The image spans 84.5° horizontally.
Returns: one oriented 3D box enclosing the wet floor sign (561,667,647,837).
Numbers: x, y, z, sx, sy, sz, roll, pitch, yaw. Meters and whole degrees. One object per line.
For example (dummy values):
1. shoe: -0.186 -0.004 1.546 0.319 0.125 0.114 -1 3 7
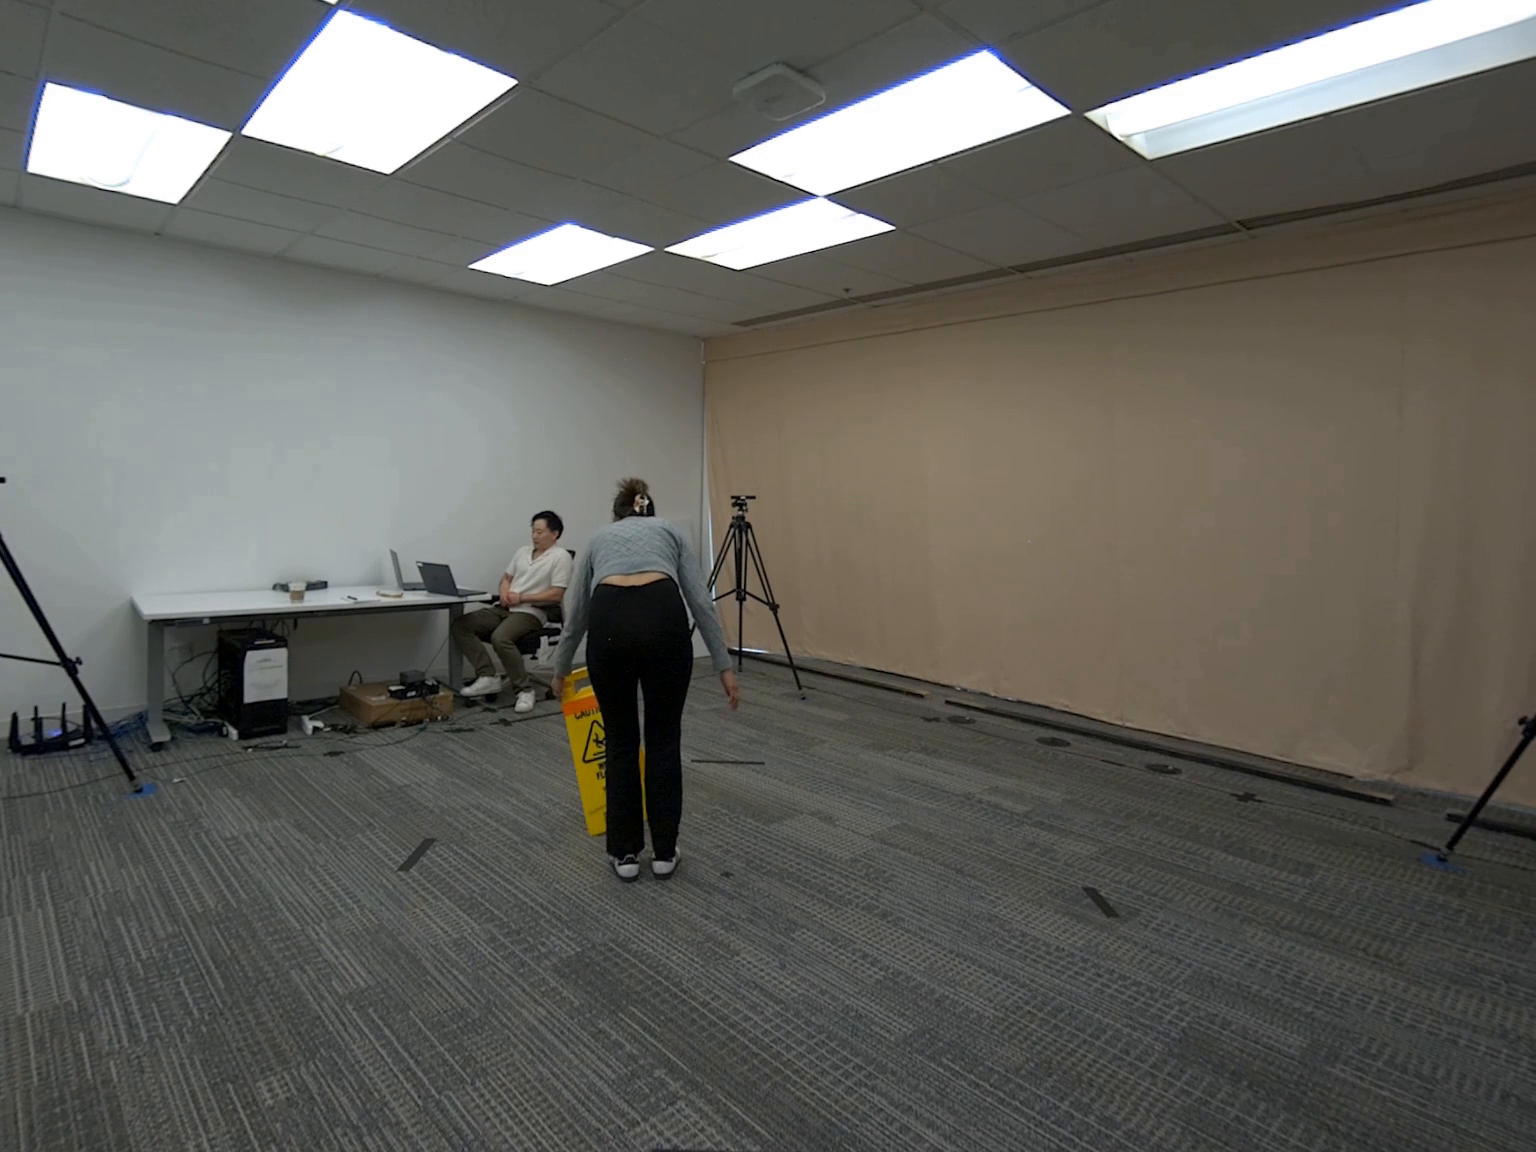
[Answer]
1. wet floor sign: -0.692 0.706 3.560 0.283 0.645 0.289 -16 2 3
